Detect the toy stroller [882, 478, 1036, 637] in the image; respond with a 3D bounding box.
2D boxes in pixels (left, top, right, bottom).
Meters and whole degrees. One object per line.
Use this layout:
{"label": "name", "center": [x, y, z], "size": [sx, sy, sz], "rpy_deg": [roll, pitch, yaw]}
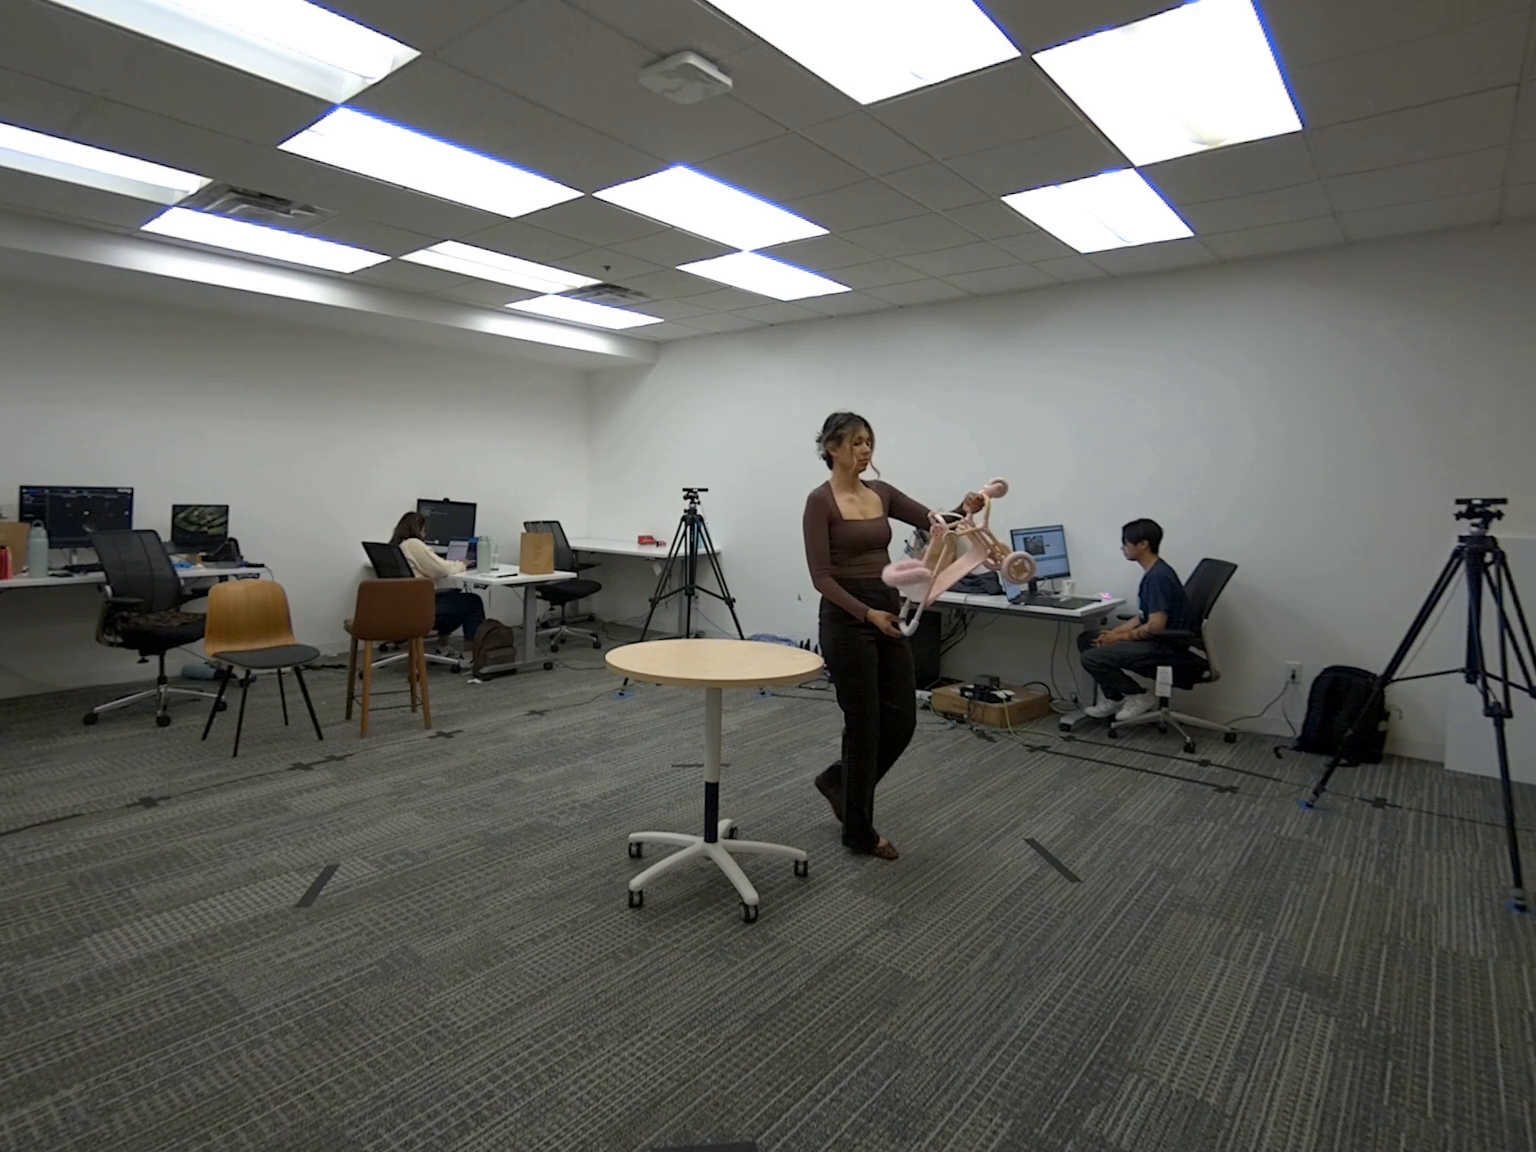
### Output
{"label": "toy stroller", "center": [0.616, -0.075, 2.881], "size": [0.536, 0.336, 0.285], "rpy_deg": [-28, 12, 6]}
